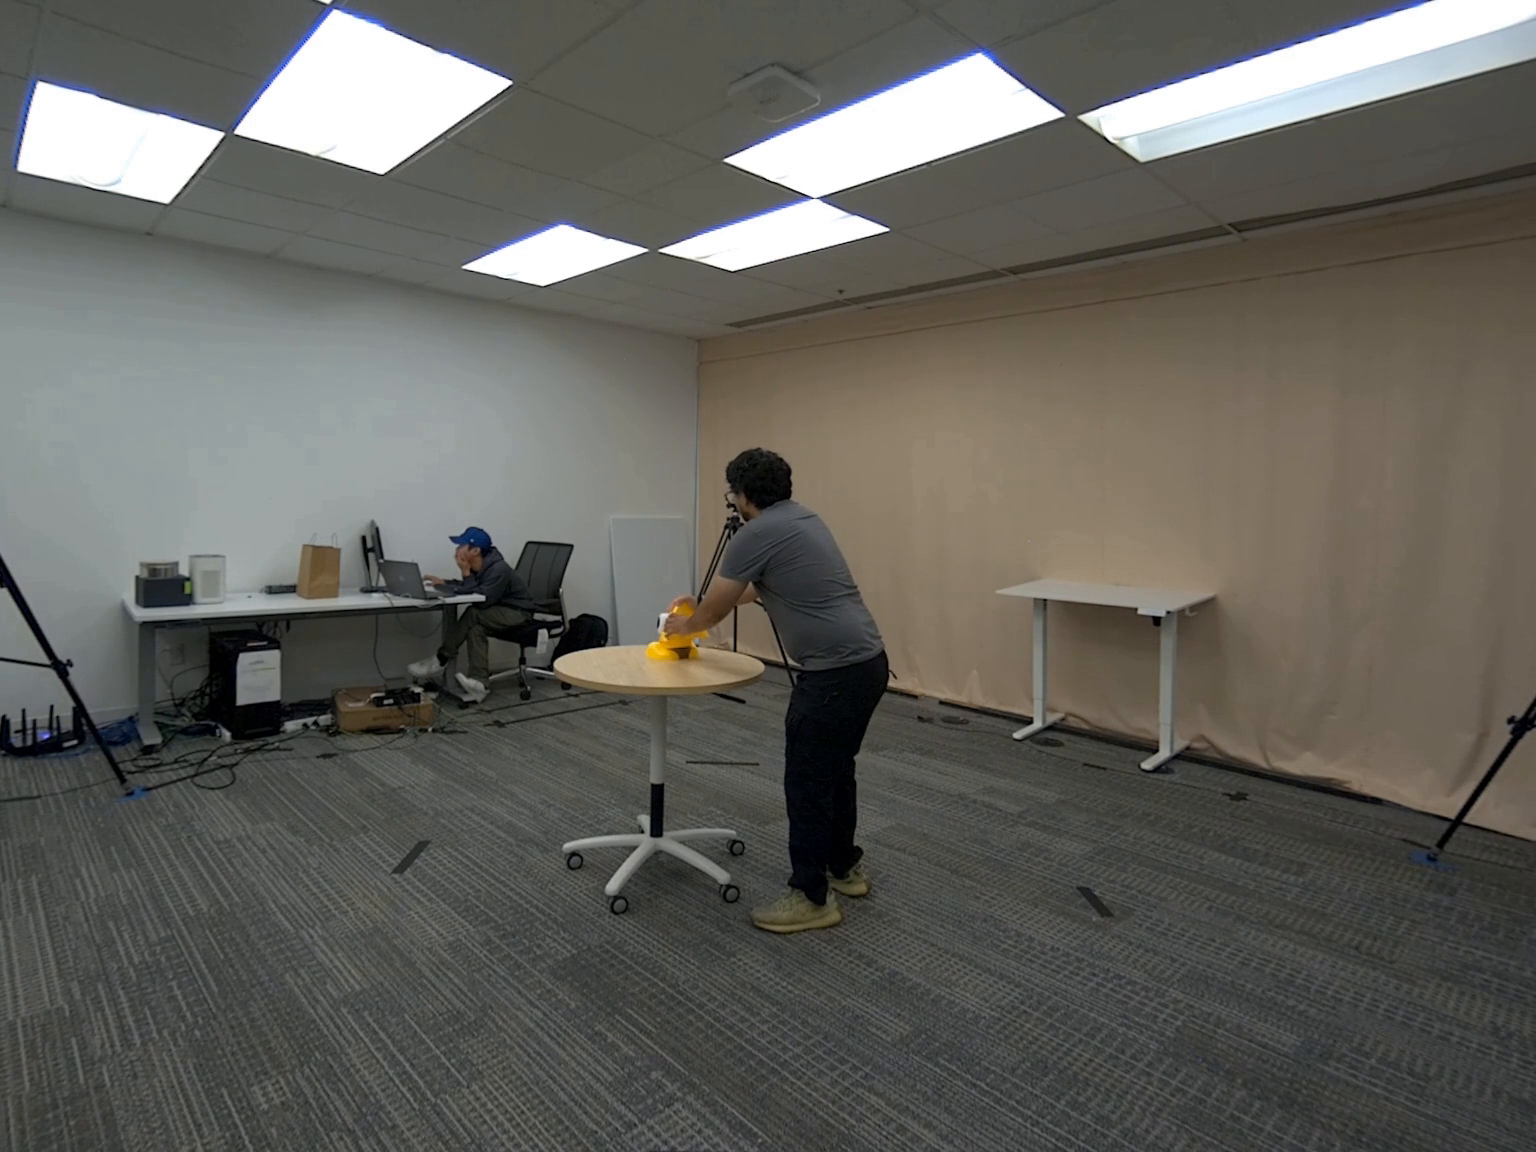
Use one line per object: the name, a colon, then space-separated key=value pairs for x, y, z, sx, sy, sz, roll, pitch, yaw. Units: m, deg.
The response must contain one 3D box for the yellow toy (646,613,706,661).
yellow toy: x=-0.372 y=0.196 z=3.234 sx=0.200 sy=0.230 sz=0.198 roll=-2 pitch=5 yaw=-42
